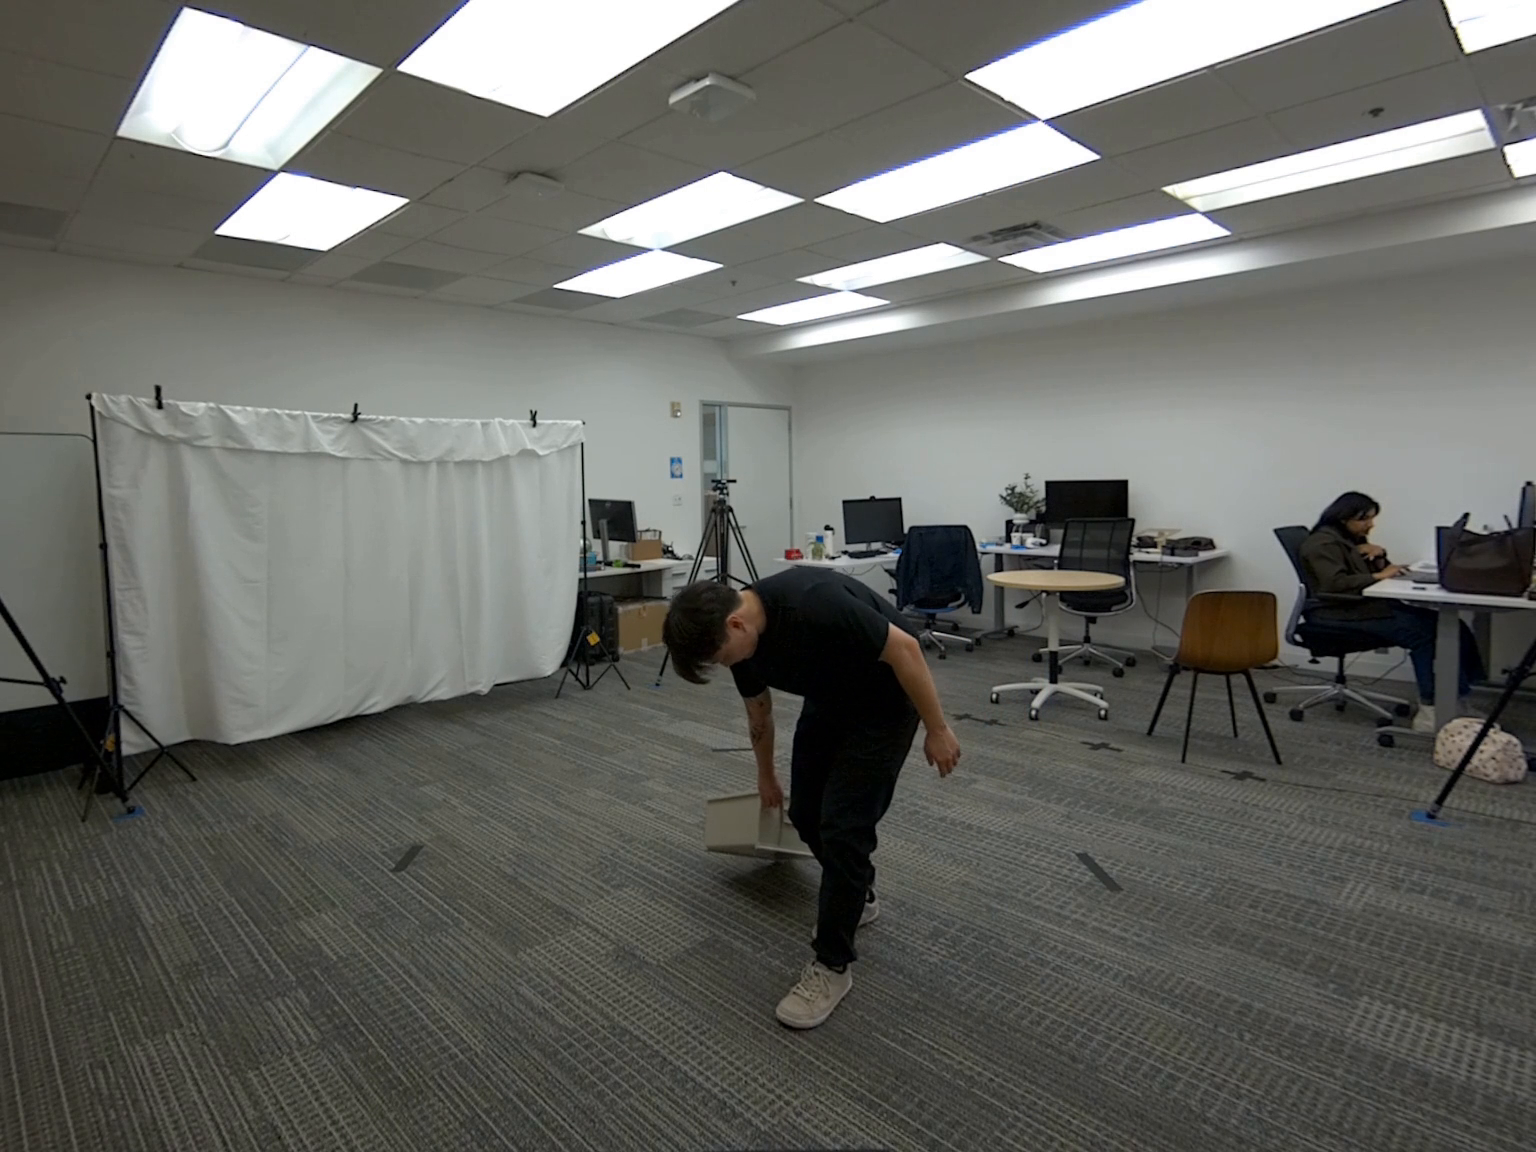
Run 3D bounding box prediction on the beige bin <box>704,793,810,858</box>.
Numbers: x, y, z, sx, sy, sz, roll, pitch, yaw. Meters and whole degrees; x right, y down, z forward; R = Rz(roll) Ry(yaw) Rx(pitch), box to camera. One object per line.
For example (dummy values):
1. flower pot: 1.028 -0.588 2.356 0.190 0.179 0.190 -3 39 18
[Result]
1. beige bin: 0.030 0.872 2.947 0.367 0.192 0.427 16 -24 -27
